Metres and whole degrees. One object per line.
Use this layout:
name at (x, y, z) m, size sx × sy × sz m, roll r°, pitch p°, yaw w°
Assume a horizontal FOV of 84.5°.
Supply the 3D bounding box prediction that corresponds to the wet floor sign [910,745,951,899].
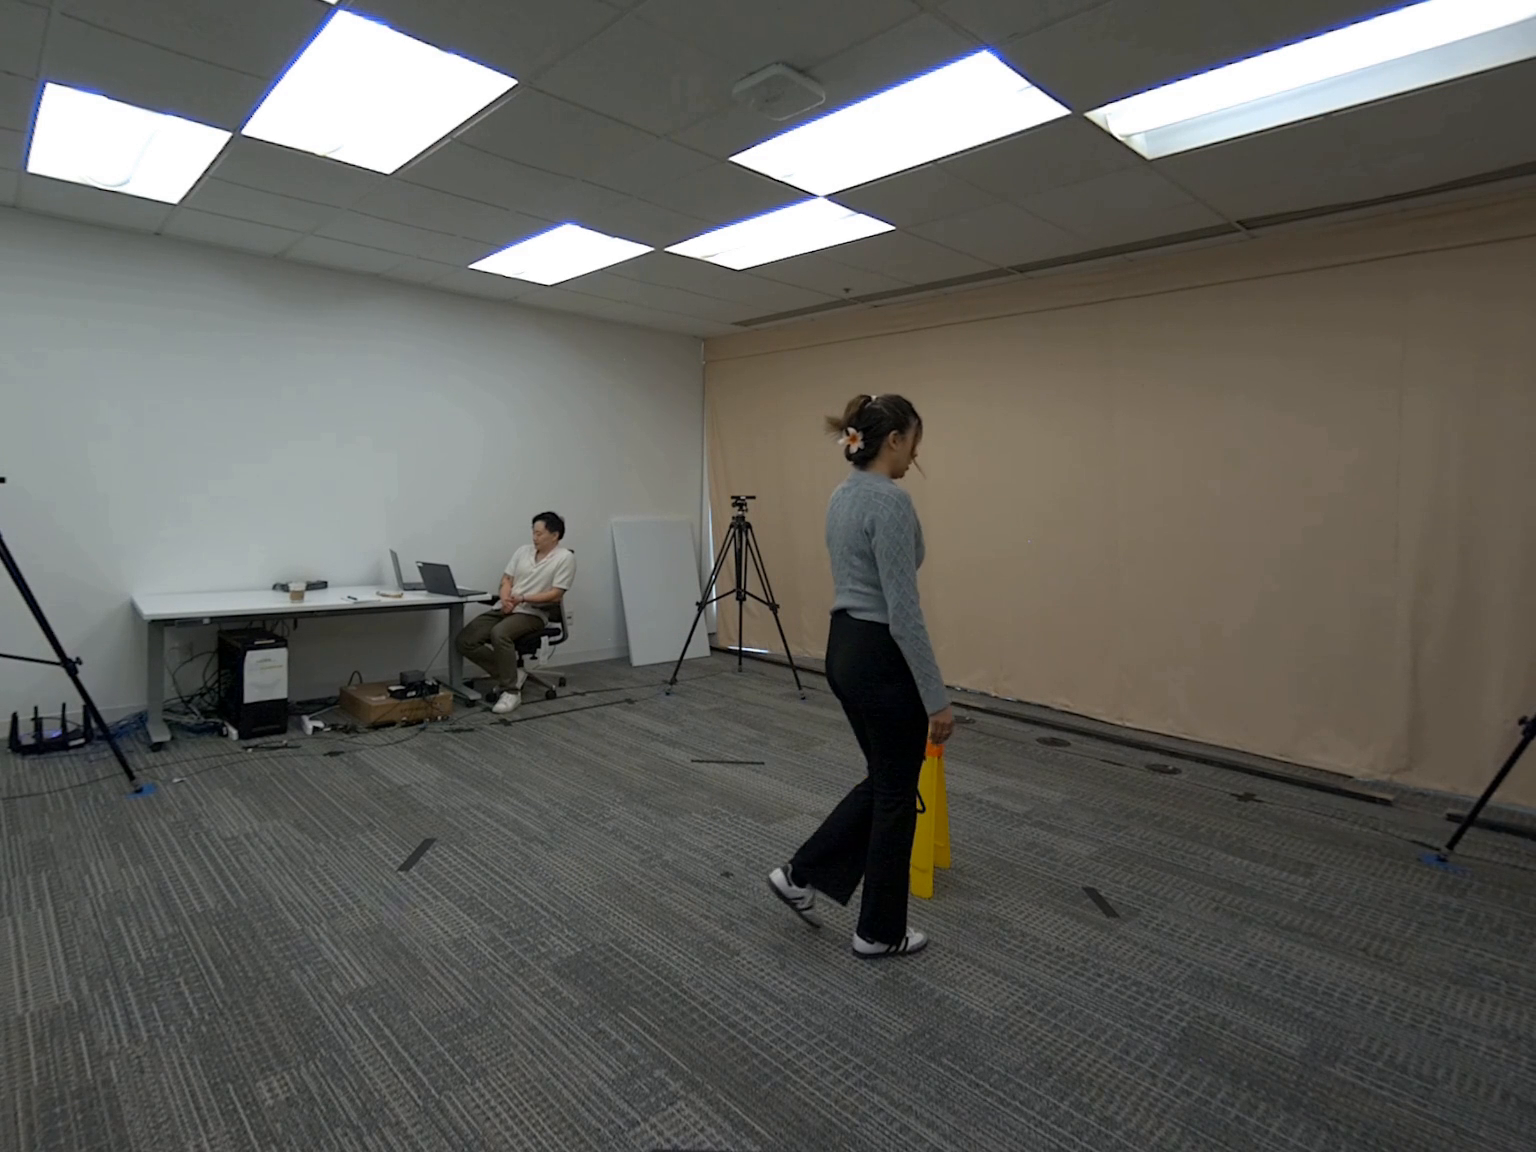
wet floor sign at (0.518, 0.795, 3.127) m, size 0.288 × 0.645 × 0.284 m, roll 4°, pitch 3°, yaw 26°
